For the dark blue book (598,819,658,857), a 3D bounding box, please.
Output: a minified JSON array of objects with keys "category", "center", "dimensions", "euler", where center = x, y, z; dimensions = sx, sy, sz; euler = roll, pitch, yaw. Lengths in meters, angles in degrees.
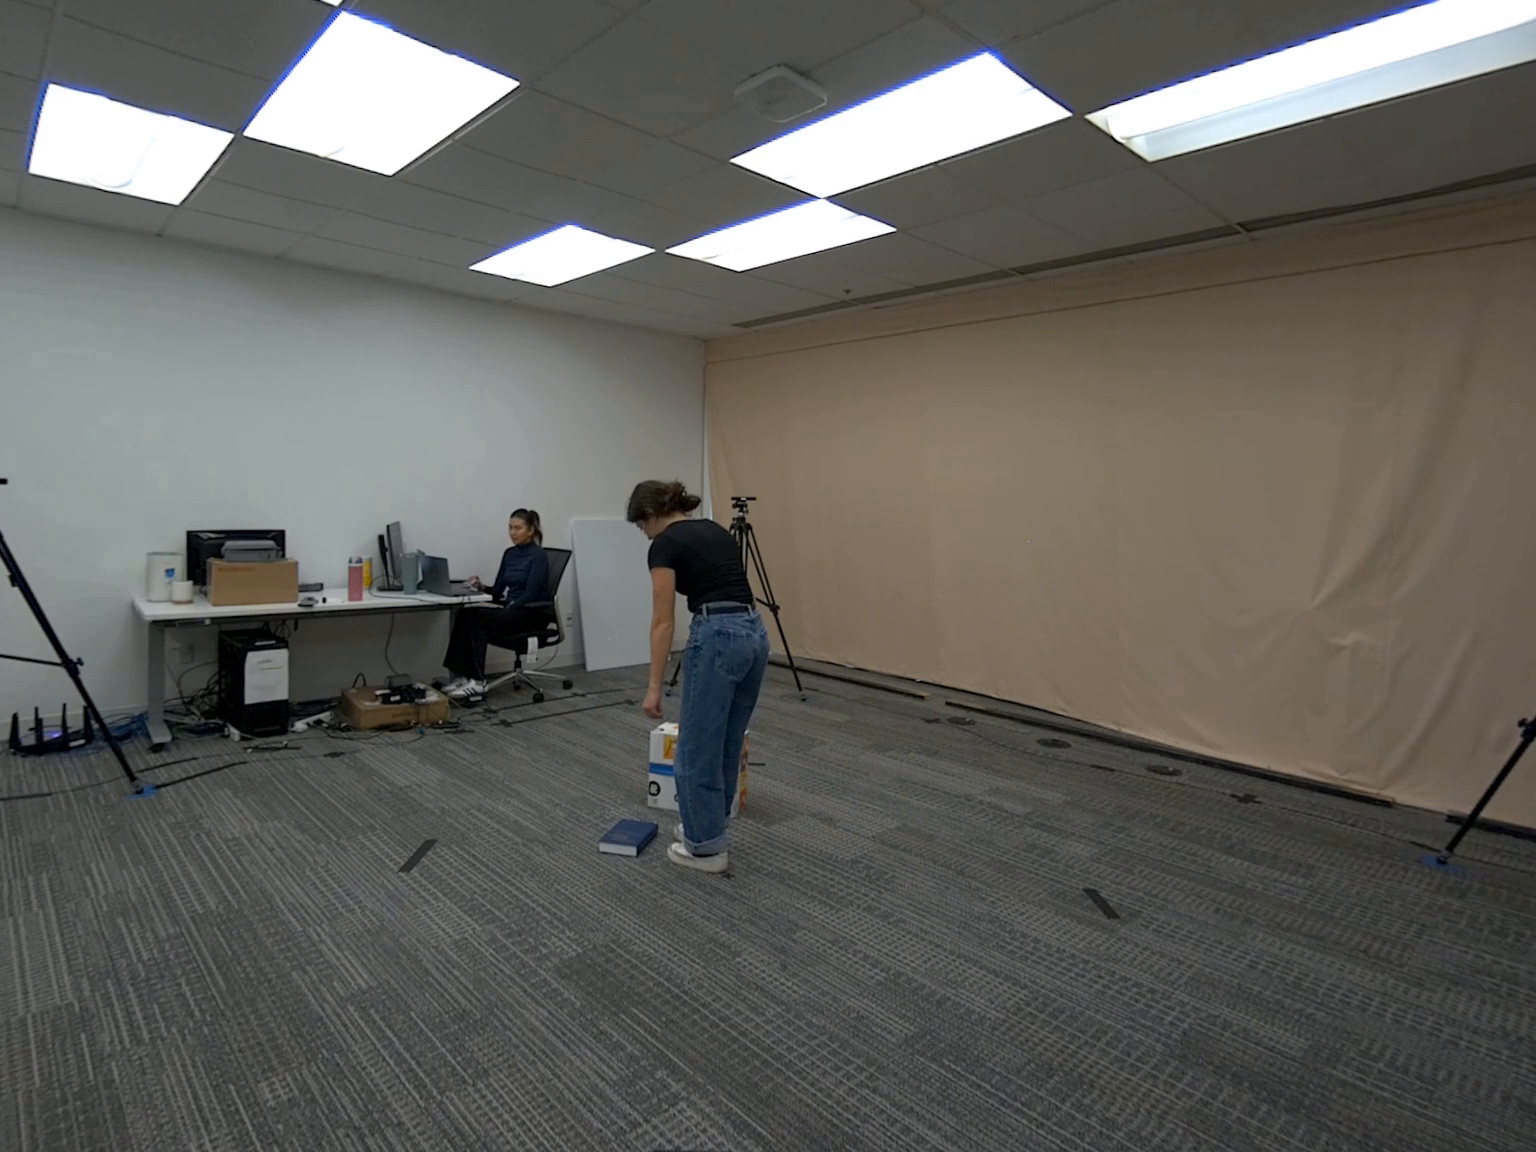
[{"category":"dark blue book","center":[-0.565,1.044,3.376],"dimensions":[0.165,0.045,0.243],"euler":[2,5,13]}]
